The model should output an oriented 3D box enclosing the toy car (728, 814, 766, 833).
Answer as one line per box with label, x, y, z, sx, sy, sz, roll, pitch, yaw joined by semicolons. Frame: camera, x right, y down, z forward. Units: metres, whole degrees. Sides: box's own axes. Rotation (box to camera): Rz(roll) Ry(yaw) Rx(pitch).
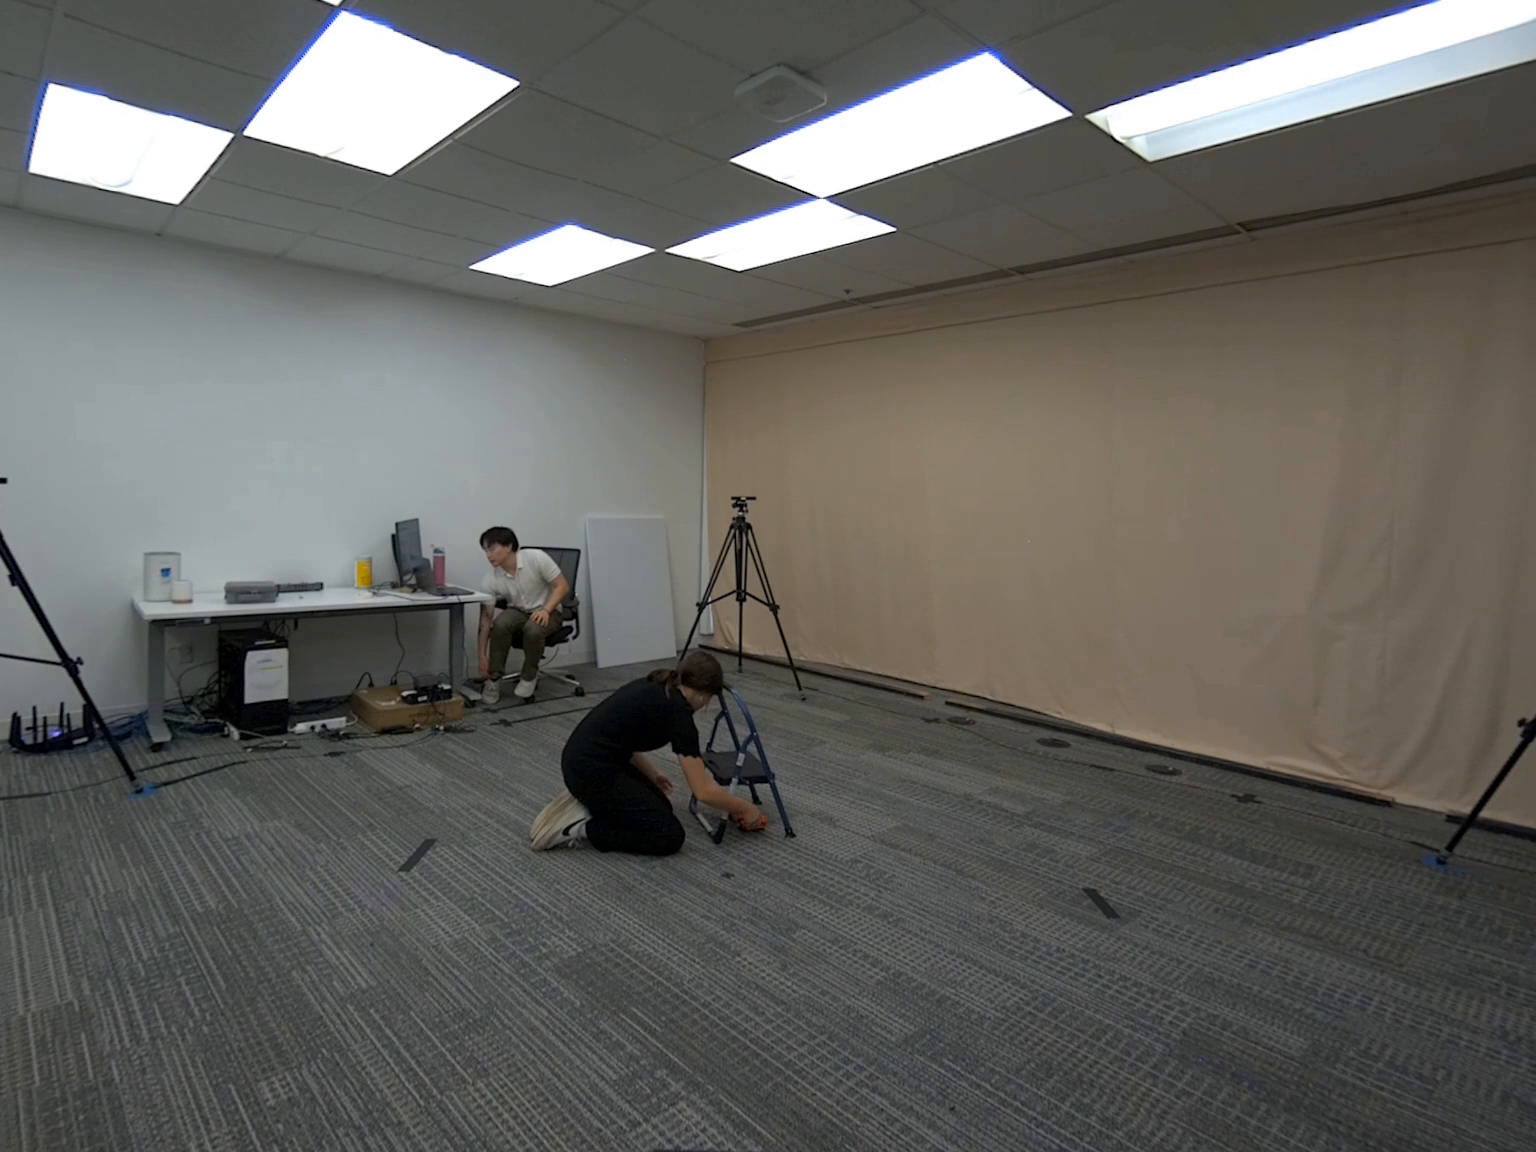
toy car;-0.096;1.039;3.604;0.128;0.083;0.257;3;-7;-20
